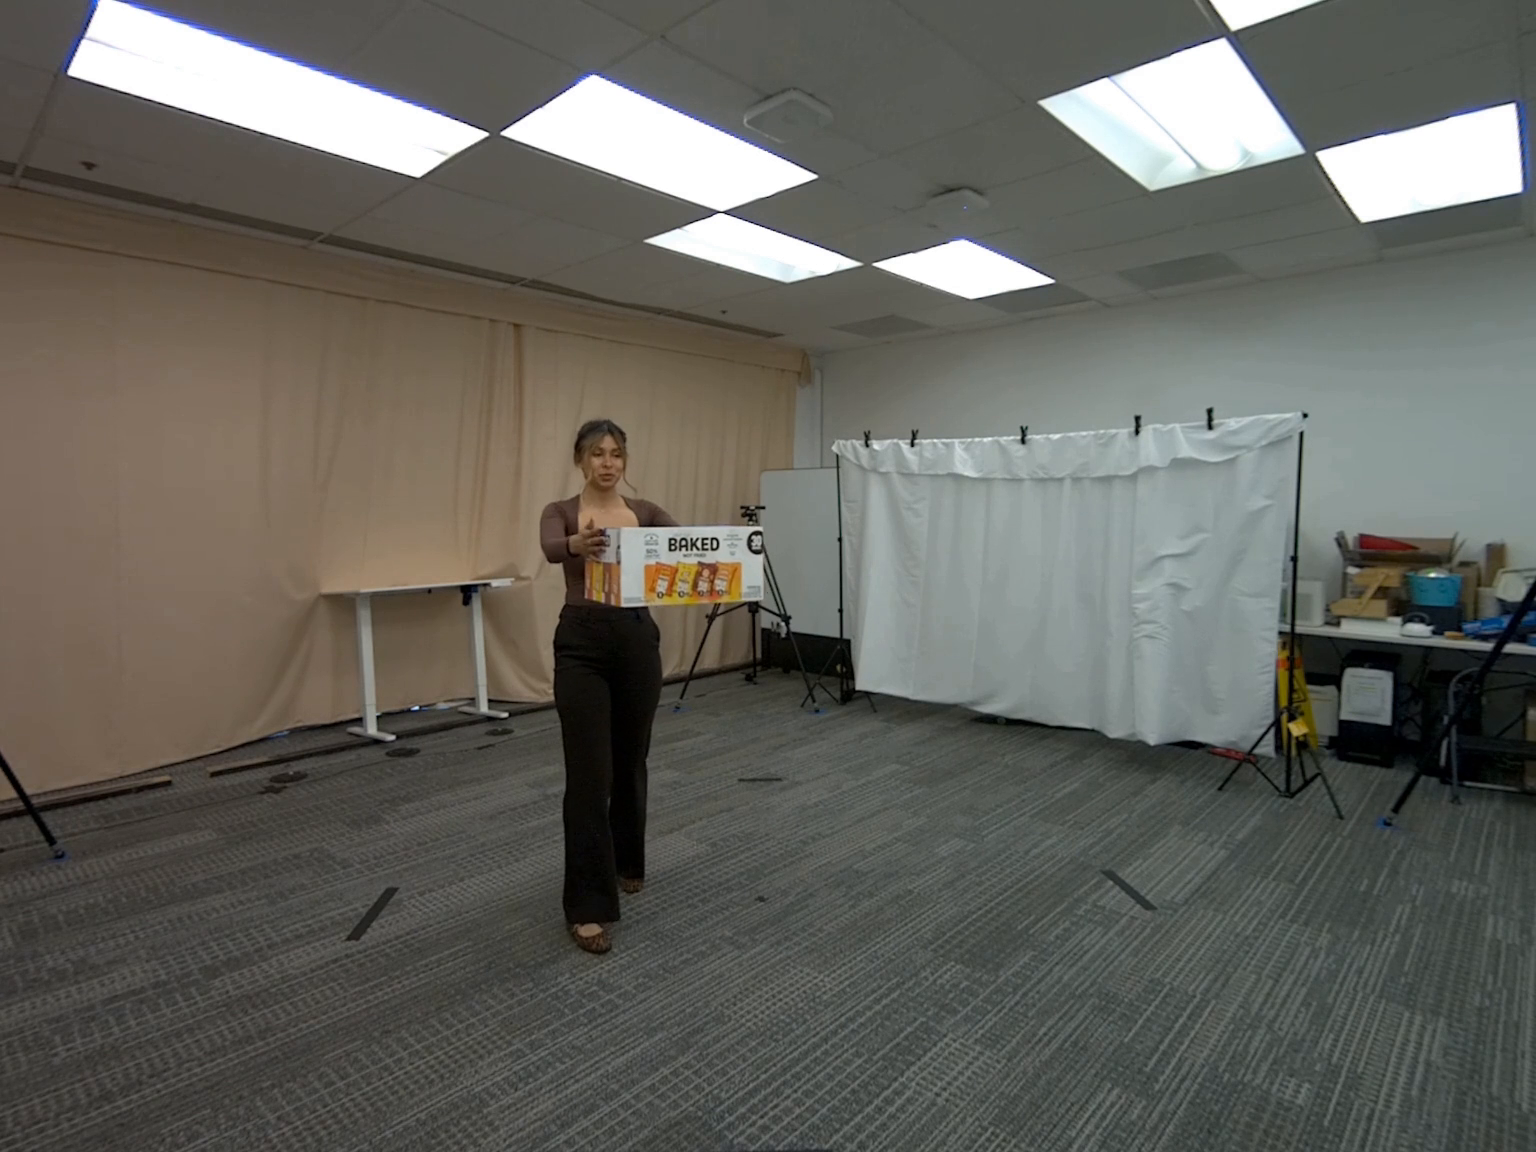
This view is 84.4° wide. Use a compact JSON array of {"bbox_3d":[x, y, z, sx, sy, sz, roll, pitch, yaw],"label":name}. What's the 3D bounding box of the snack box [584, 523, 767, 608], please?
[{"bbox_3d":[-0.265,-0.036,2.332,0.395,0.205,0.349,-1,2,-27],"label":"snack box"}]
